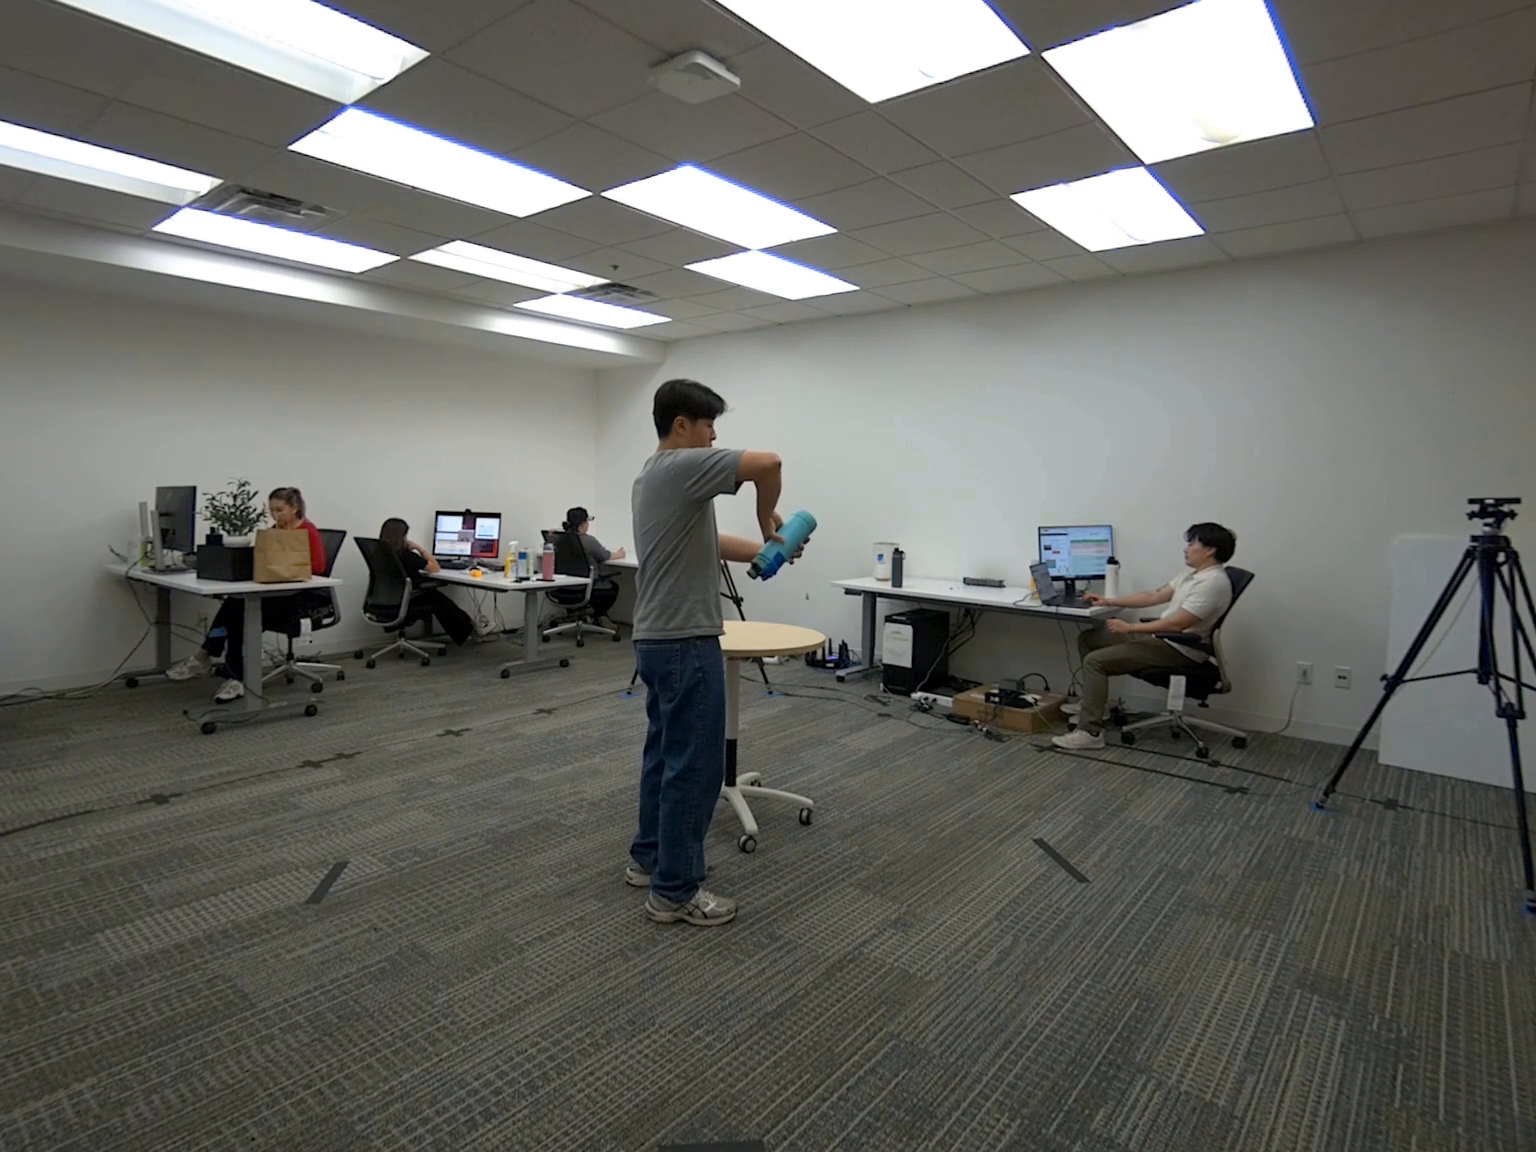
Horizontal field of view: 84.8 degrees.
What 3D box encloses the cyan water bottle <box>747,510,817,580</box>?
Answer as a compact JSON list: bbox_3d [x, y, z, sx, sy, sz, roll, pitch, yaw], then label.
[{"bbox_3d":[0.043,-0.099,2.793,0.283,0.089,0.095,-48,25,-19],"label":"cyan water bottle"}]
